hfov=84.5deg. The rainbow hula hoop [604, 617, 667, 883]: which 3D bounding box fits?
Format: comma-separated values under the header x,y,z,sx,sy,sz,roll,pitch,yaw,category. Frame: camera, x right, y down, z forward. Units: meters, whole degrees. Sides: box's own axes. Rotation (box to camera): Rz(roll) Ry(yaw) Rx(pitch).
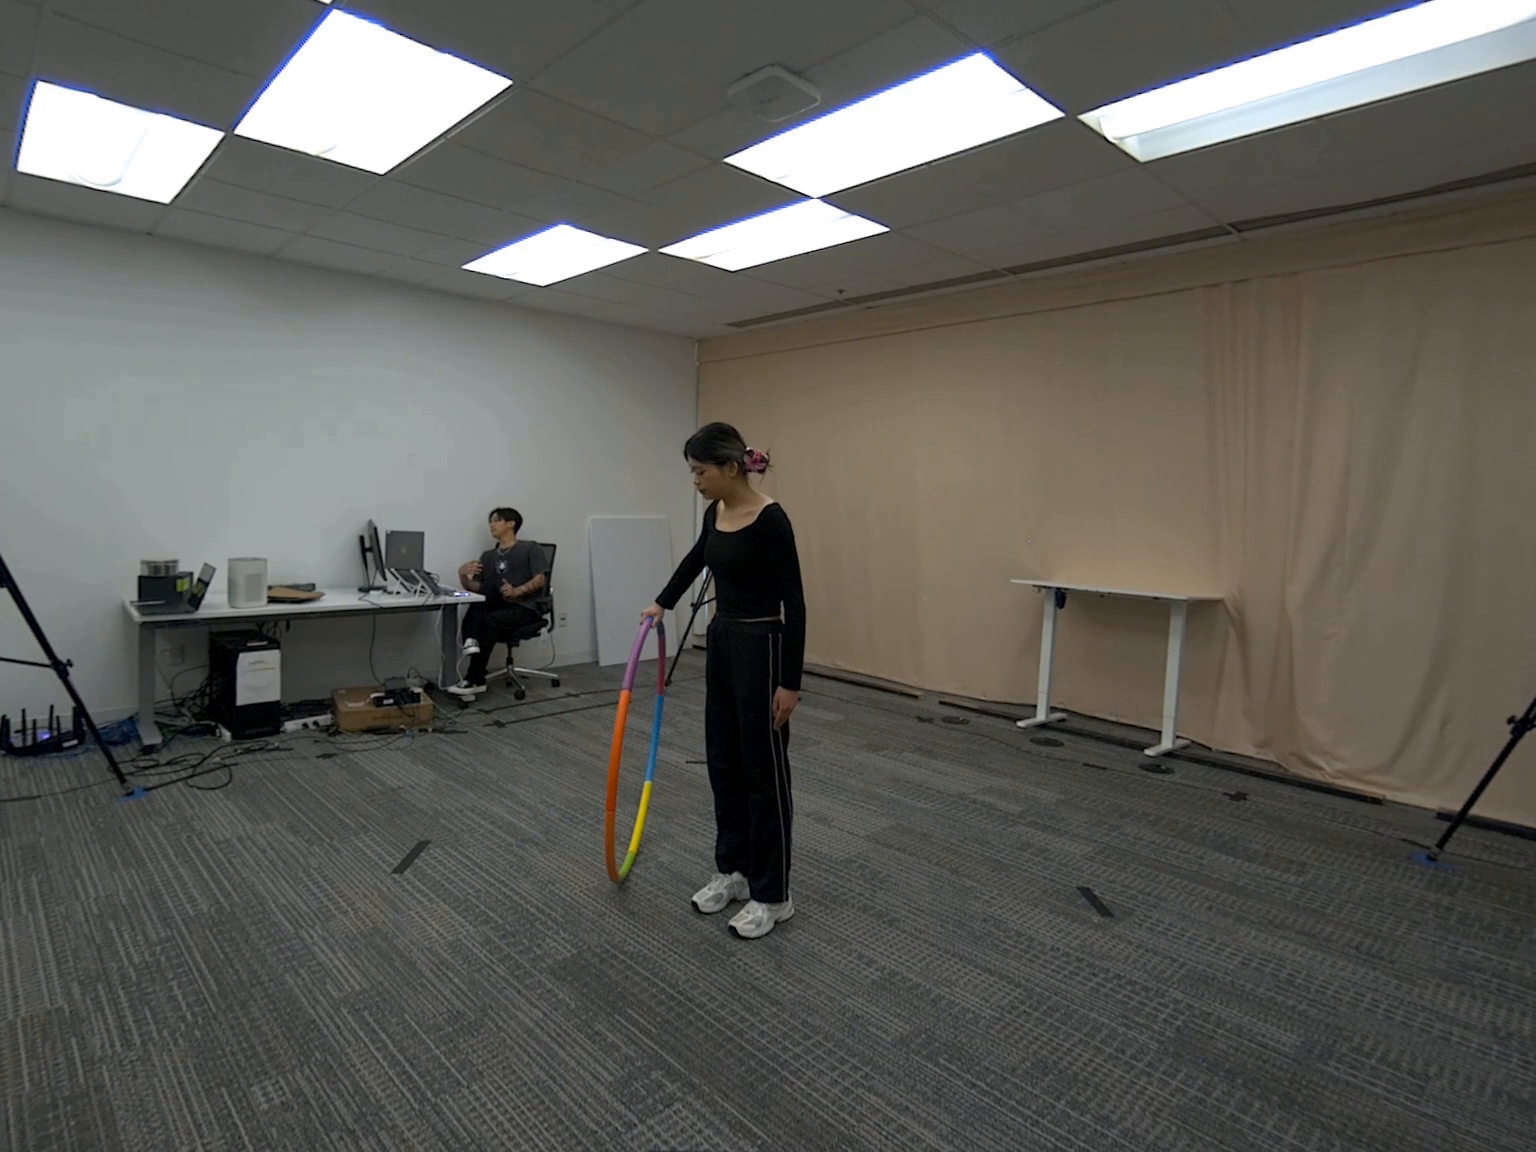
x,y,z,sx,sy,sz,roll,pitch,yaw,category
-0.478,0.618,3.127,0.035,0.976,0.979,6,4,1,rainbow hula hoop
